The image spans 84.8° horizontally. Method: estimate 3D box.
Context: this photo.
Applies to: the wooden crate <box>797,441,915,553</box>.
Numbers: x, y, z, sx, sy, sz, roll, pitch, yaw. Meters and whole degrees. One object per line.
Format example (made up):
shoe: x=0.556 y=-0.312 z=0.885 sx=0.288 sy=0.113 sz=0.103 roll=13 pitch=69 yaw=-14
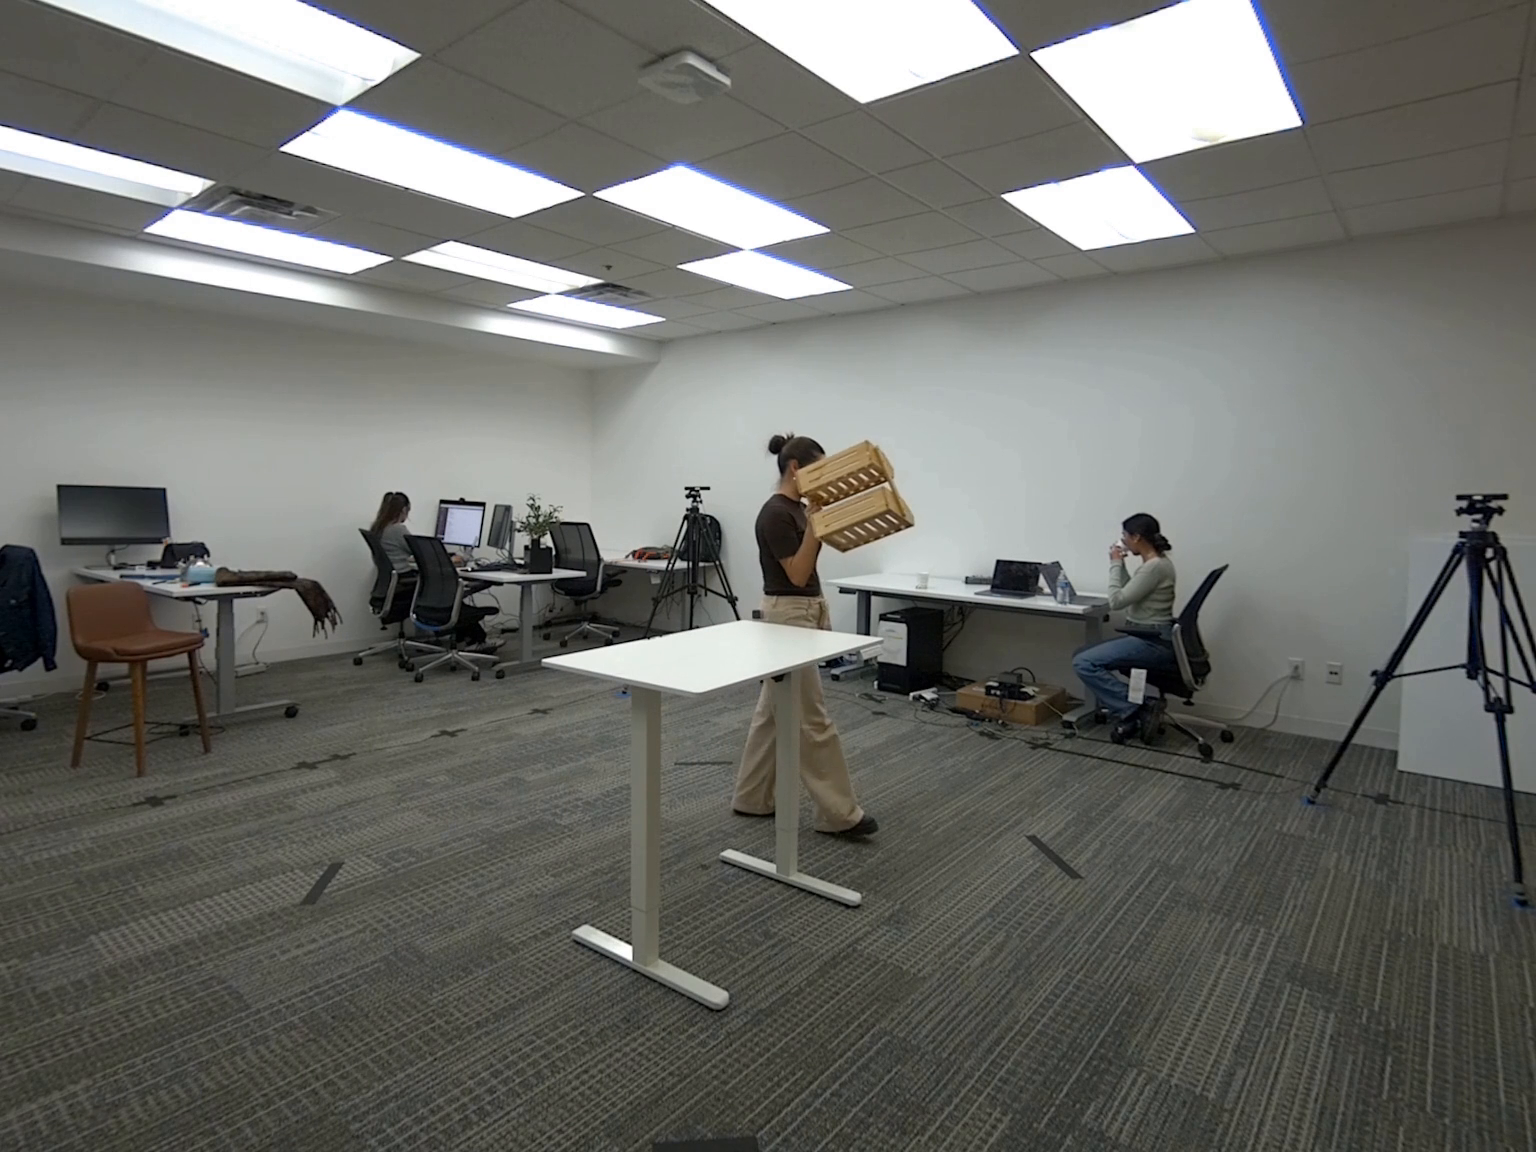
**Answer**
wooden crate: x=0.321 y=-0.291 z=3.175 sx=0.329 sy=0.280 sz=0.290 roll=-22 pitch=-26 yaw=27
